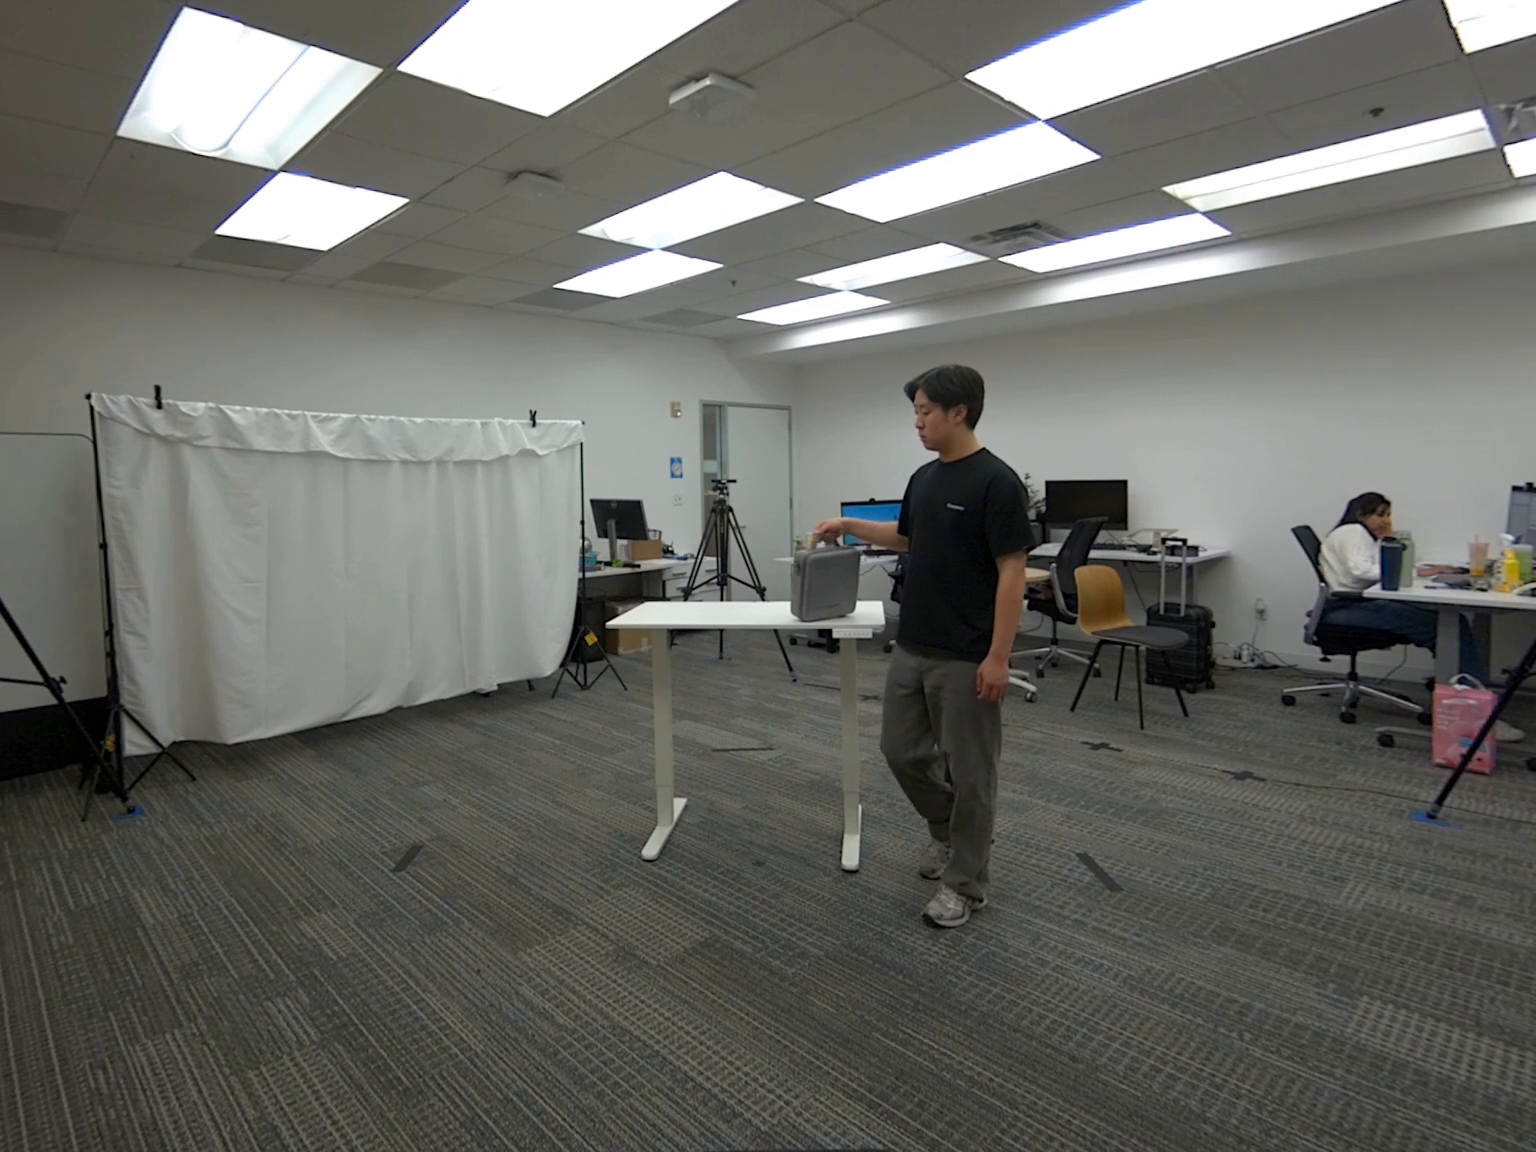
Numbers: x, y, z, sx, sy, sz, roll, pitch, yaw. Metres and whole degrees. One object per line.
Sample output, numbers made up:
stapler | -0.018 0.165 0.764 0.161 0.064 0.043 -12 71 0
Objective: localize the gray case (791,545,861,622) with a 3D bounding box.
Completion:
gray case | 0.210 0.010 3.095 0.257 0.284 0.106 -7 13 -33
